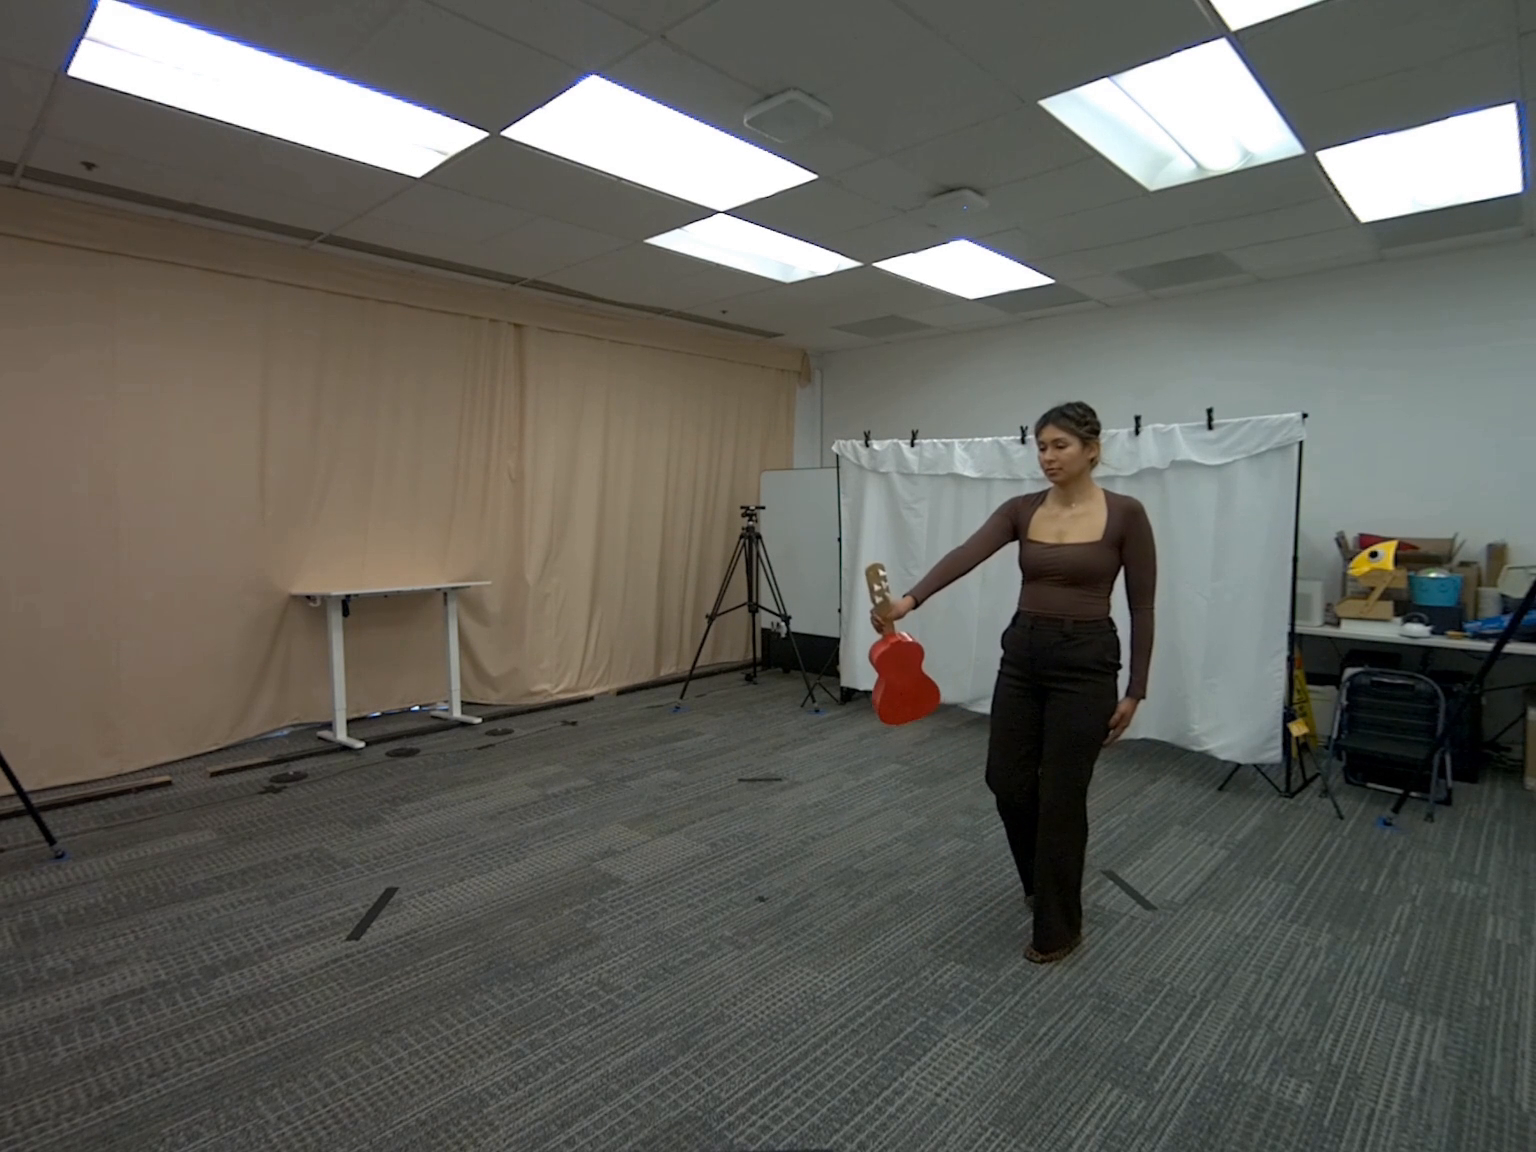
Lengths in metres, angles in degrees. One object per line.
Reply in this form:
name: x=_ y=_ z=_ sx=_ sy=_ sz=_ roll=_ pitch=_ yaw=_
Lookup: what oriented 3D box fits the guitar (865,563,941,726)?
guitar: x=0.336 y=0.208 z=2.397 sx=0.193 sy=0.487 sz=0.072 roll=-26 pitch=22 yaw=-2
